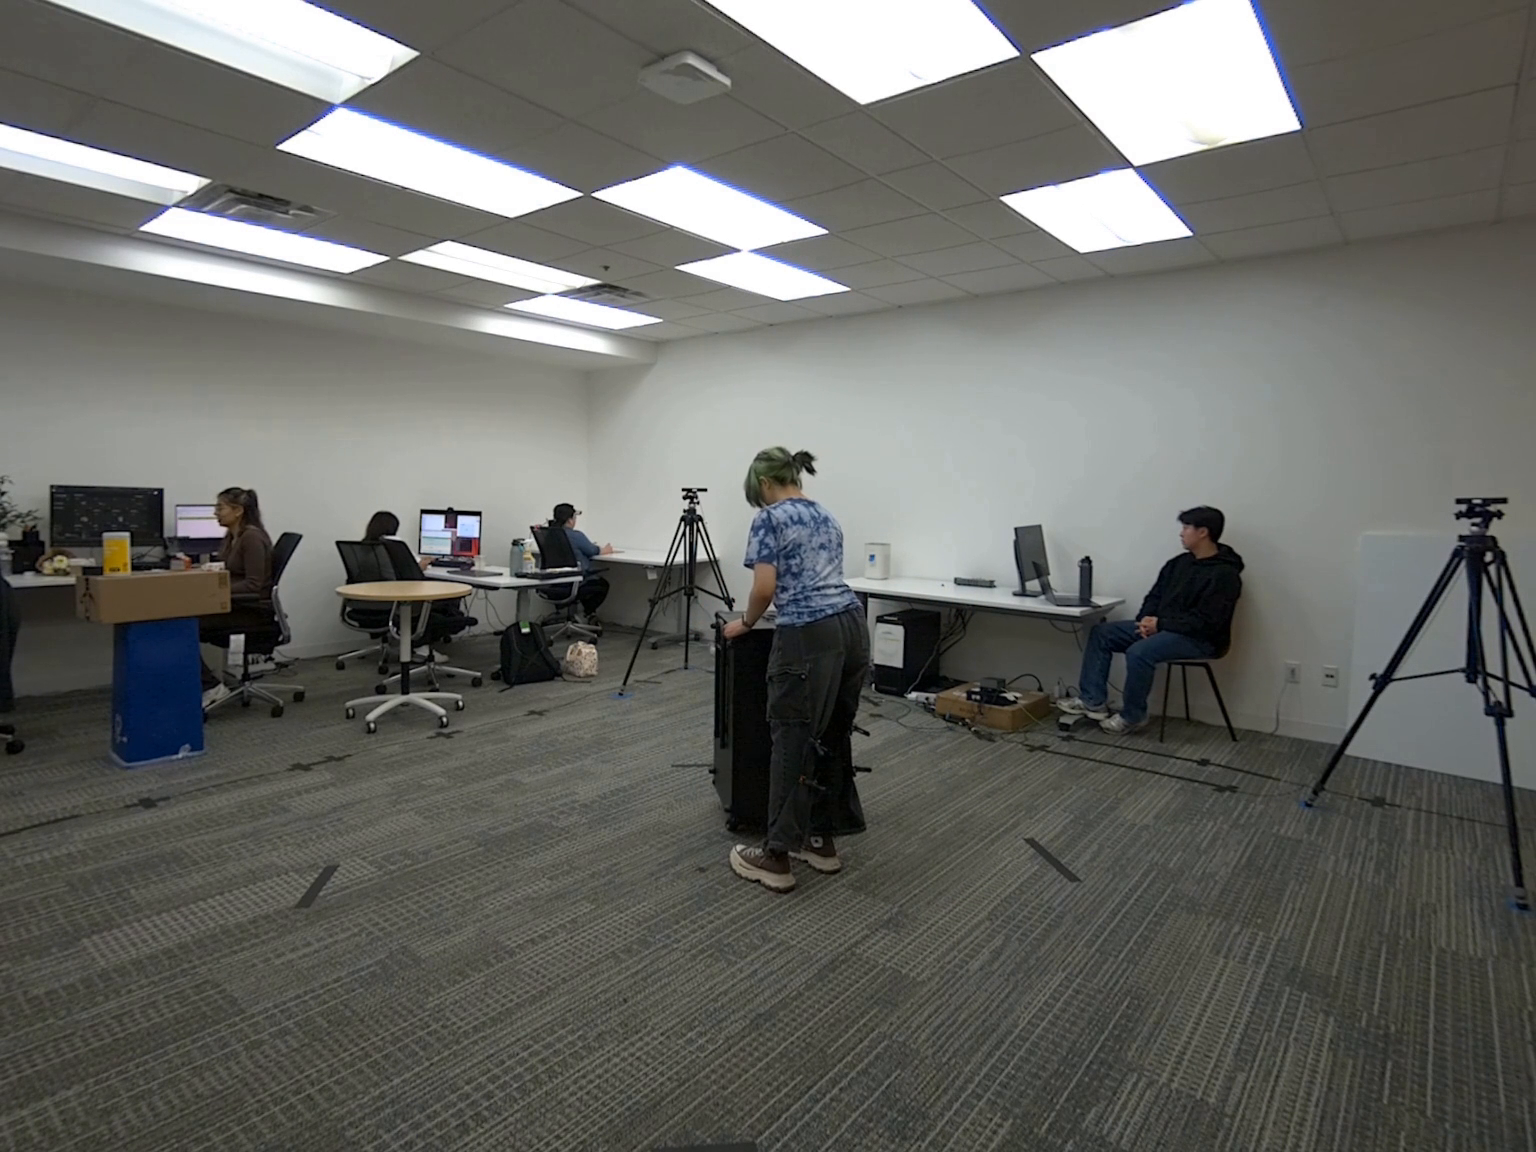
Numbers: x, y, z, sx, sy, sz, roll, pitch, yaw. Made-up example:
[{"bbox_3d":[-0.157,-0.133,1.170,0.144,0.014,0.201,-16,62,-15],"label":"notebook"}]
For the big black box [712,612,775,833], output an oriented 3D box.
[{"bbox_3d":[-0.033,0.608,3.579,0.392,0.858,0.529,0,5,-10],"label":"big black box"}]
